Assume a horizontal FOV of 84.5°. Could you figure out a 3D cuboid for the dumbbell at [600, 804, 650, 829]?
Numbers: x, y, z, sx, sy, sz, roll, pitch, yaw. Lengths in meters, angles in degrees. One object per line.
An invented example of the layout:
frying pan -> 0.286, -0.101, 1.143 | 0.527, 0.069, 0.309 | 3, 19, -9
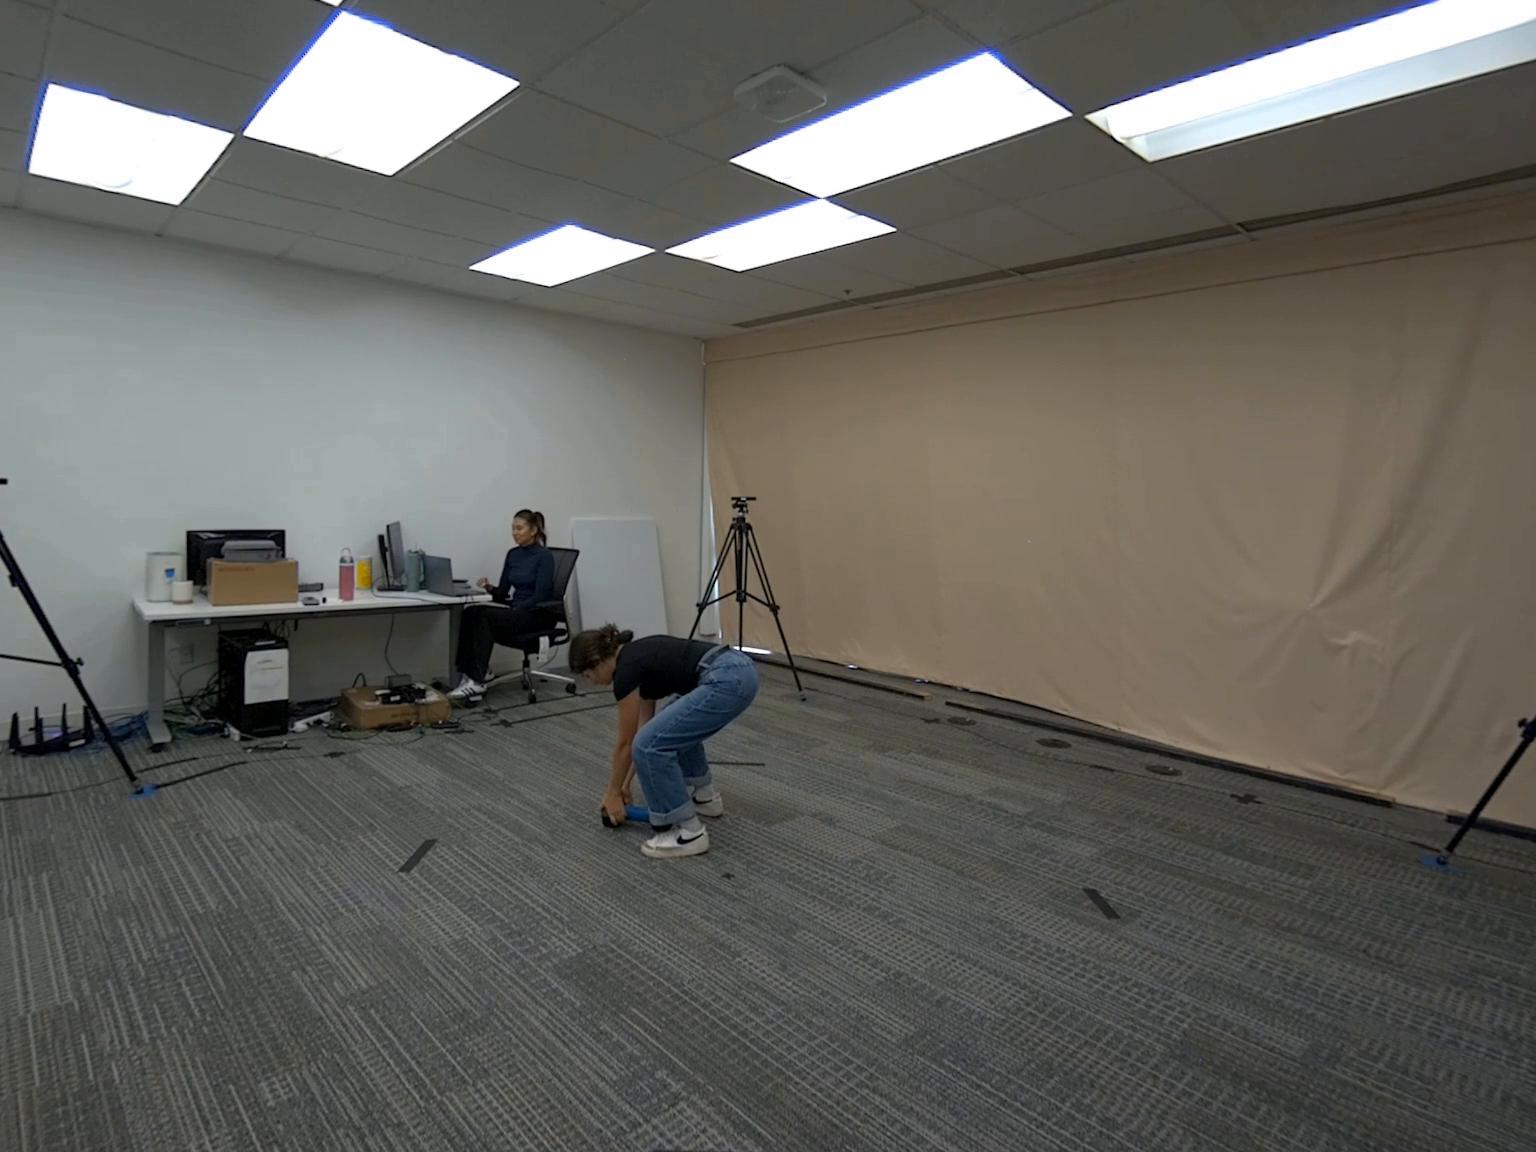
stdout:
dumbbell -> -0.547, 1.014, 3.532 | 0.295, 0.120, 0.110 | 3, 35, 5
